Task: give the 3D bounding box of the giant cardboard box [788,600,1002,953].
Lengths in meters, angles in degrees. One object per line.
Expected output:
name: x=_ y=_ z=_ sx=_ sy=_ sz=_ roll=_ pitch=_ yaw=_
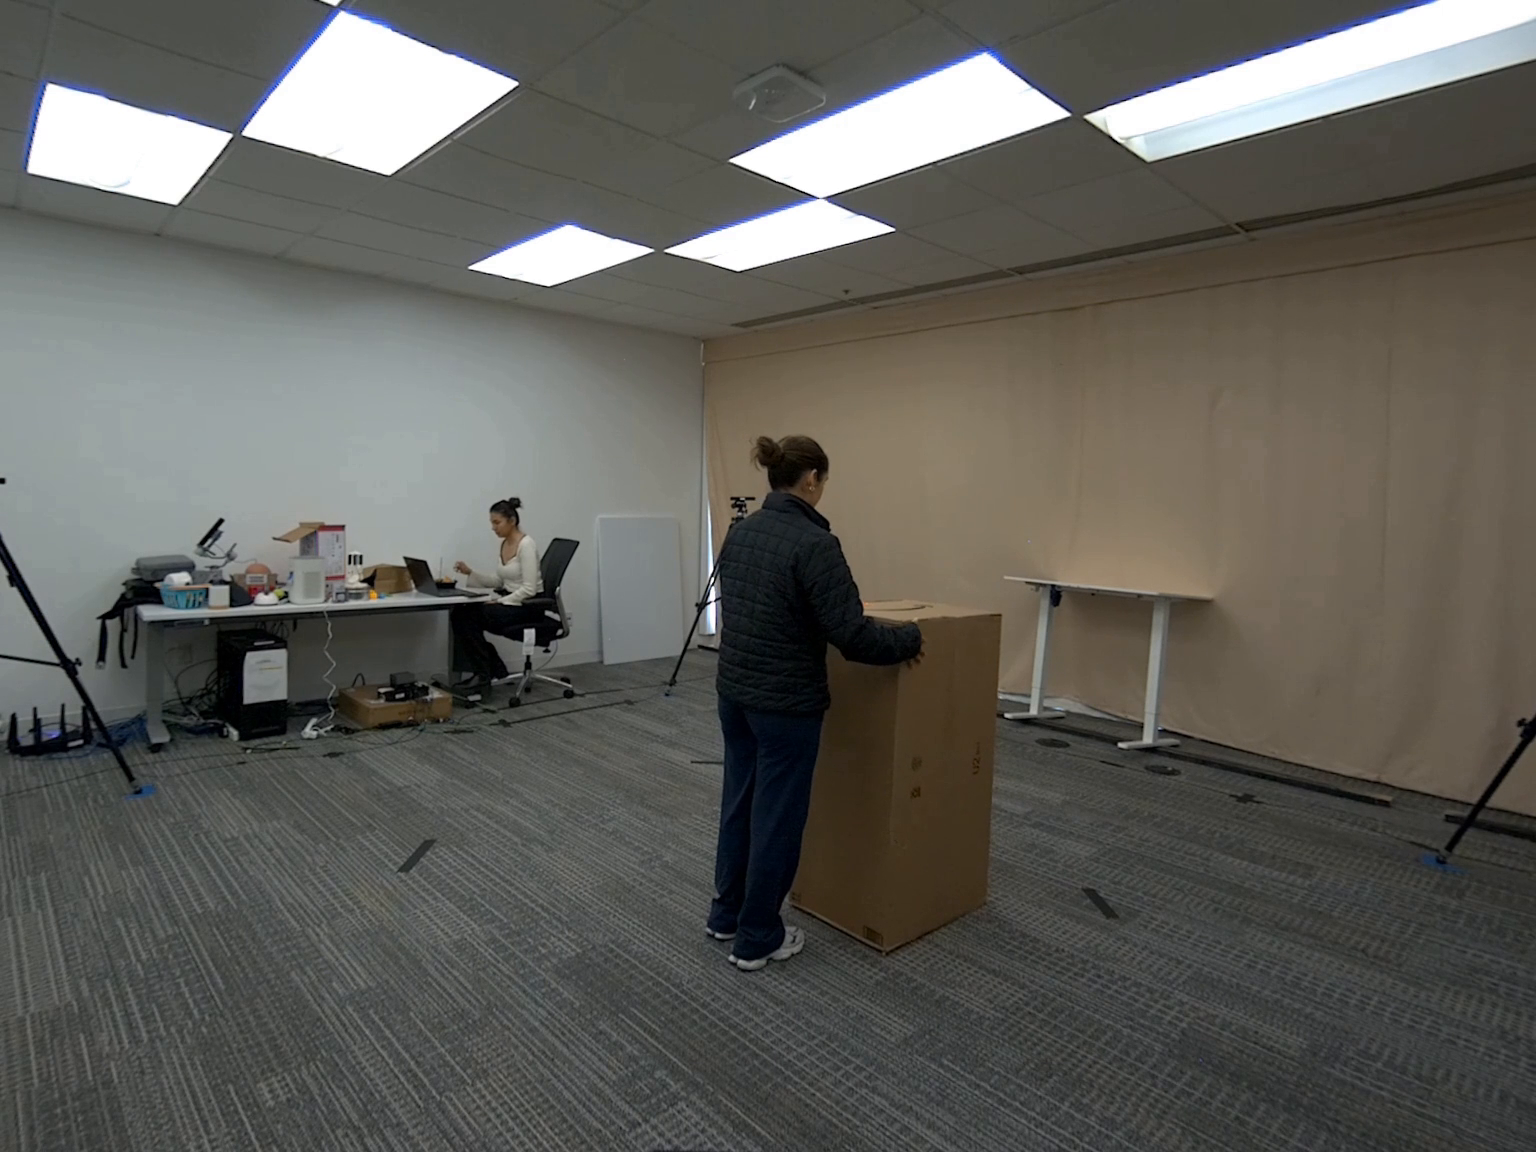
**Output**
giant cardboard box: x=0.439 y=0.629 z=2.890 sx=0.564 sy=1.024 sz=0.437 roll=0 pitch=4 yaw=-43
